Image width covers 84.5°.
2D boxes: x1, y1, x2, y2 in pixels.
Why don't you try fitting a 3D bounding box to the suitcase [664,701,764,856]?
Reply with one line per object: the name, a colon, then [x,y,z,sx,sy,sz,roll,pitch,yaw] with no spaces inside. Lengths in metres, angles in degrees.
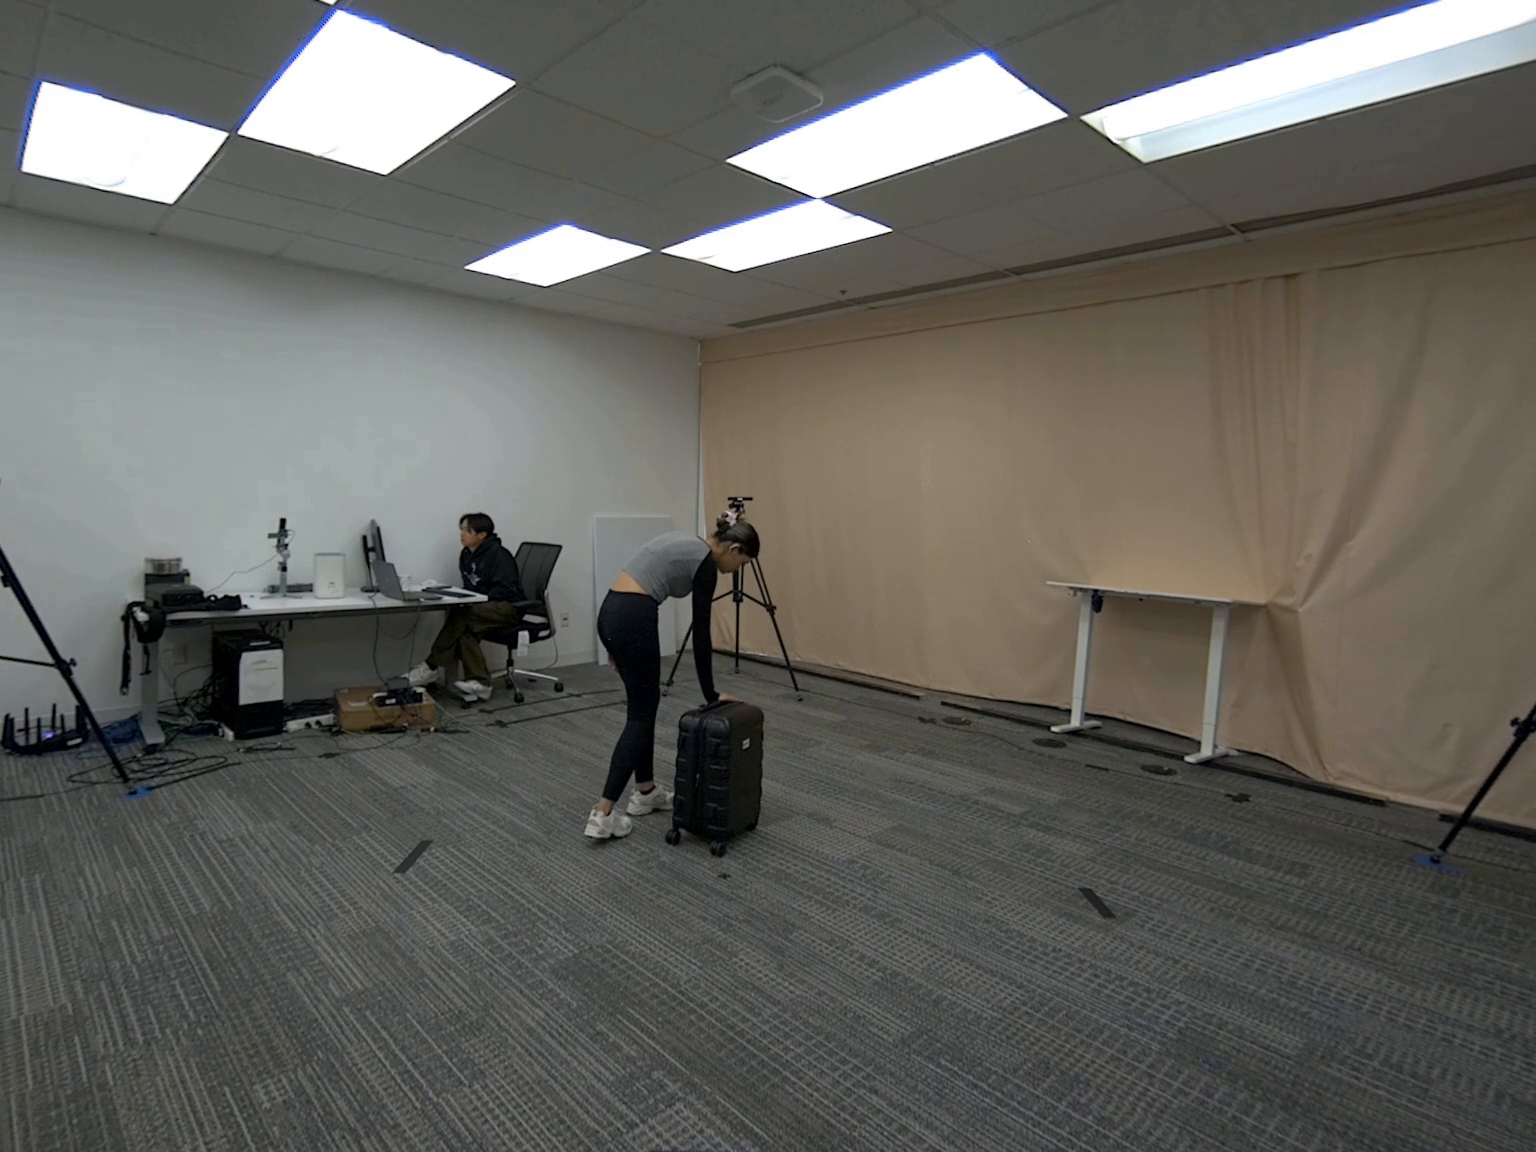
suitcase: [-0.209,0.800,3.463,0.253,0.548,0.368,5,3,27]
